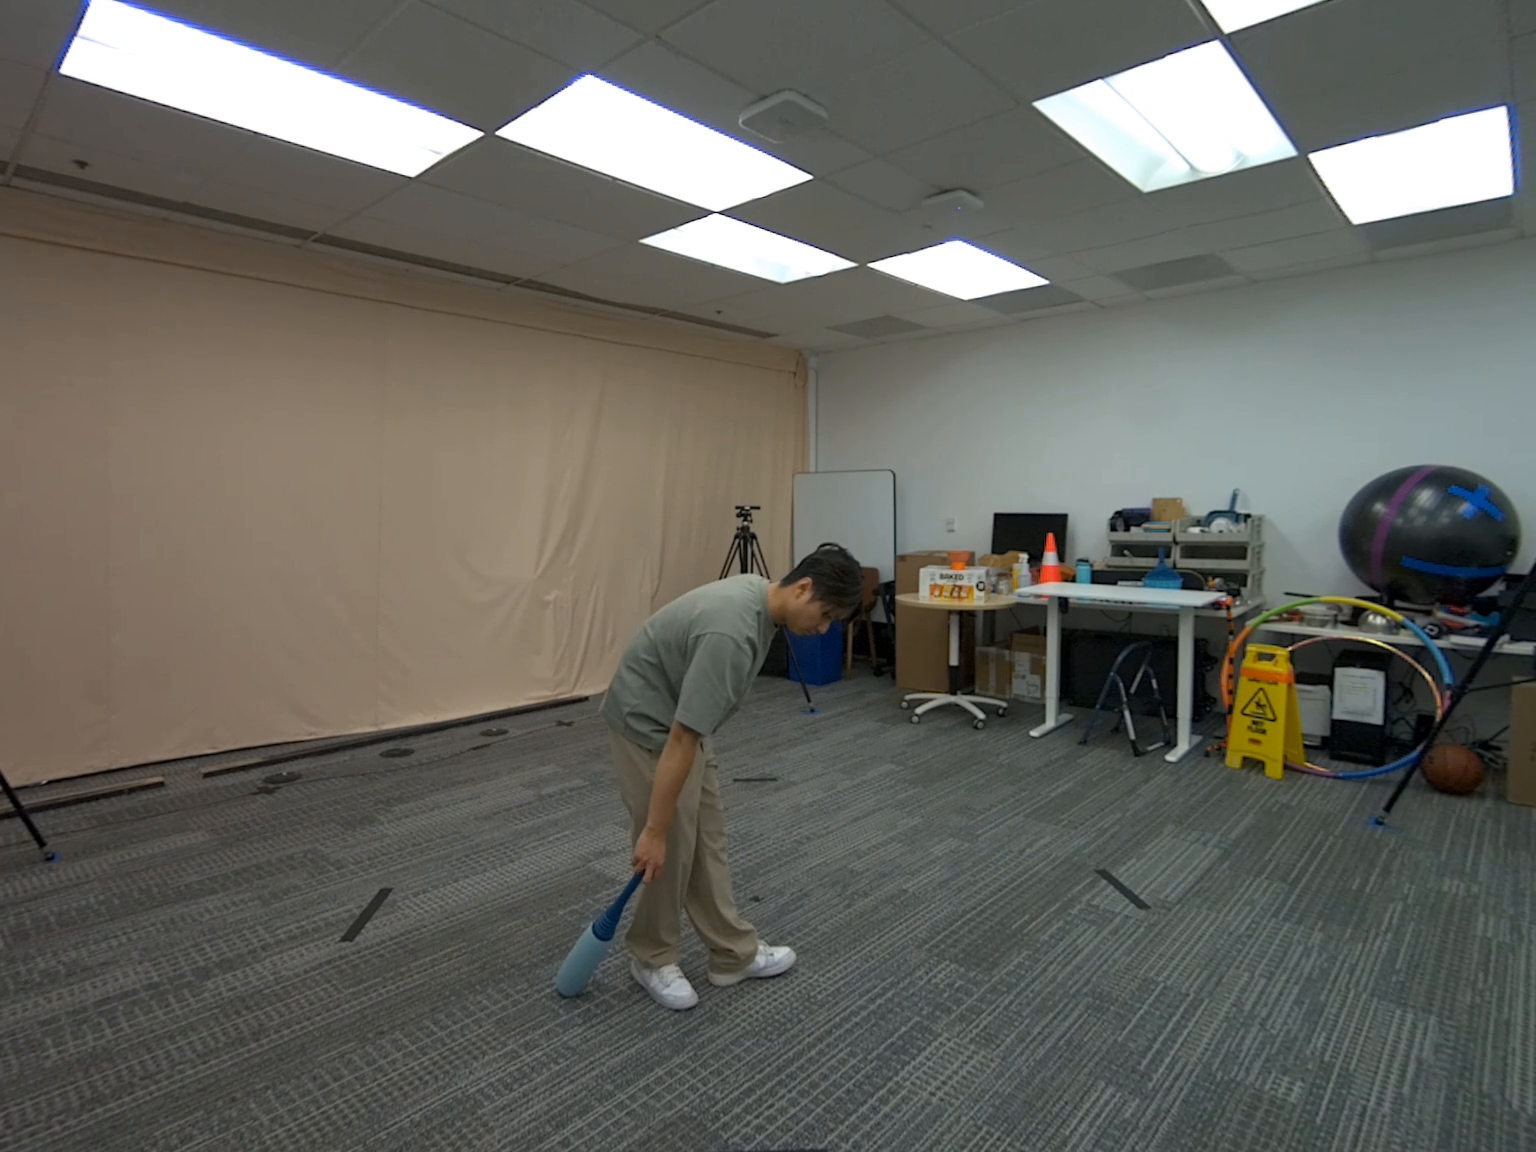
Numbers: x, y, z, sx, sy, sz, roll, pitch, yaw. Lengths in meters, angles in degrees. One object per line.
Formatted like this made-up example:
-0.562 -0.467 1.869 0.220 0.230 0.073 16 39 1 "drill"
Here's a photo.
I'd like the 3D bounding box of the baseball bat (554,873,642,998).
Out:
-0.443 0.972 2.311 0.087 0.543 0.090 26 25 -15 "baseball bat"
